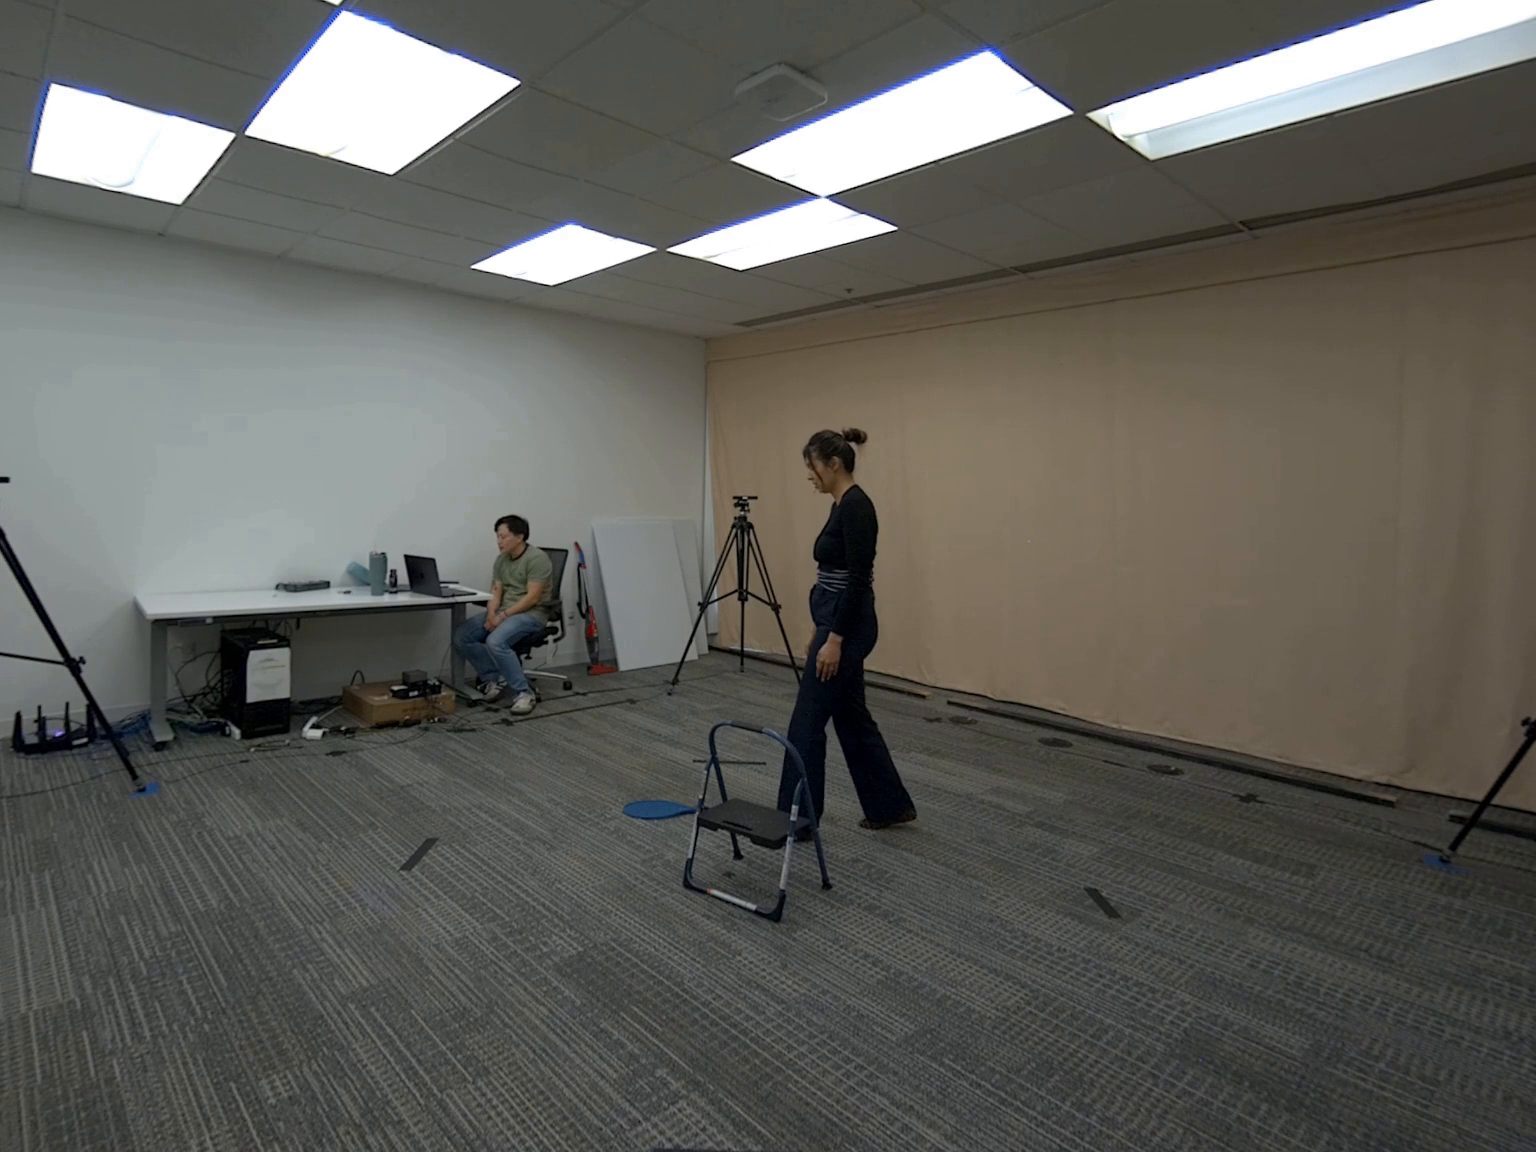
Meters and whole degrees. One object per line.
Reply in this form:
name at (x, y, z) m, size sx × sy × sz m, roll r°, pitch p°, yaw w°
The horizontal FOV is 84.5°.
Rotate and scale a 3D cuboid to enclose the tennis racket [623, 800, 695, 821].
tennis racket at (-0.431, 1.028, 3.704) m, size 0.434 × 0.032 × 0.213 m, roll -1°, pitch 4°, yaw 5°
